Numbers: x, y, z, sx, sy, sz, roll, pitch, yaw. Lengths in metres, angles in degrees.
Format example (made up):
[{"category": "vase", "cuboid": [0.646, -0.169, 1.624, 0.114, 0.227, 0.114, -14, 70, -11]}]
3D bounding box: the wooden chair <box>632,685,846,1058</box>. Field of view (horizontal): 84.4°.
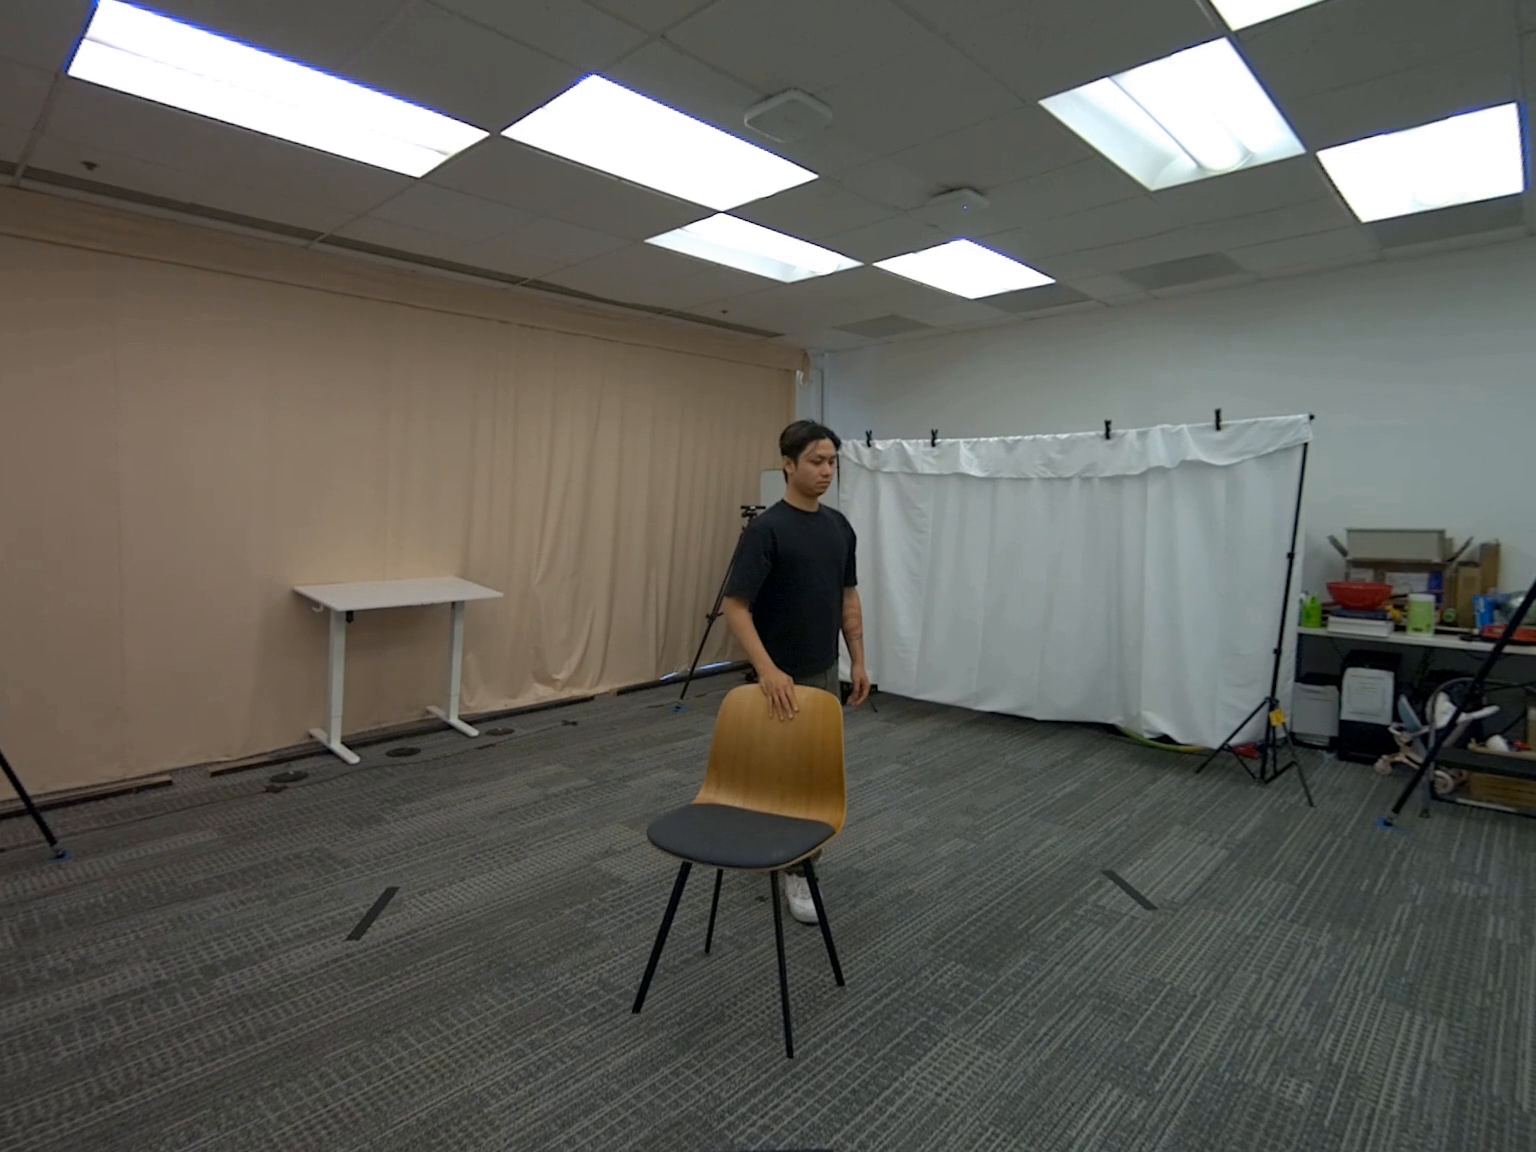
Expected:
[{"category": "wooden chair", "cuboid": [-0.047, 0.747, 2.343, 0.490, 0.880, 0.508, 2, -7, 24]}]
